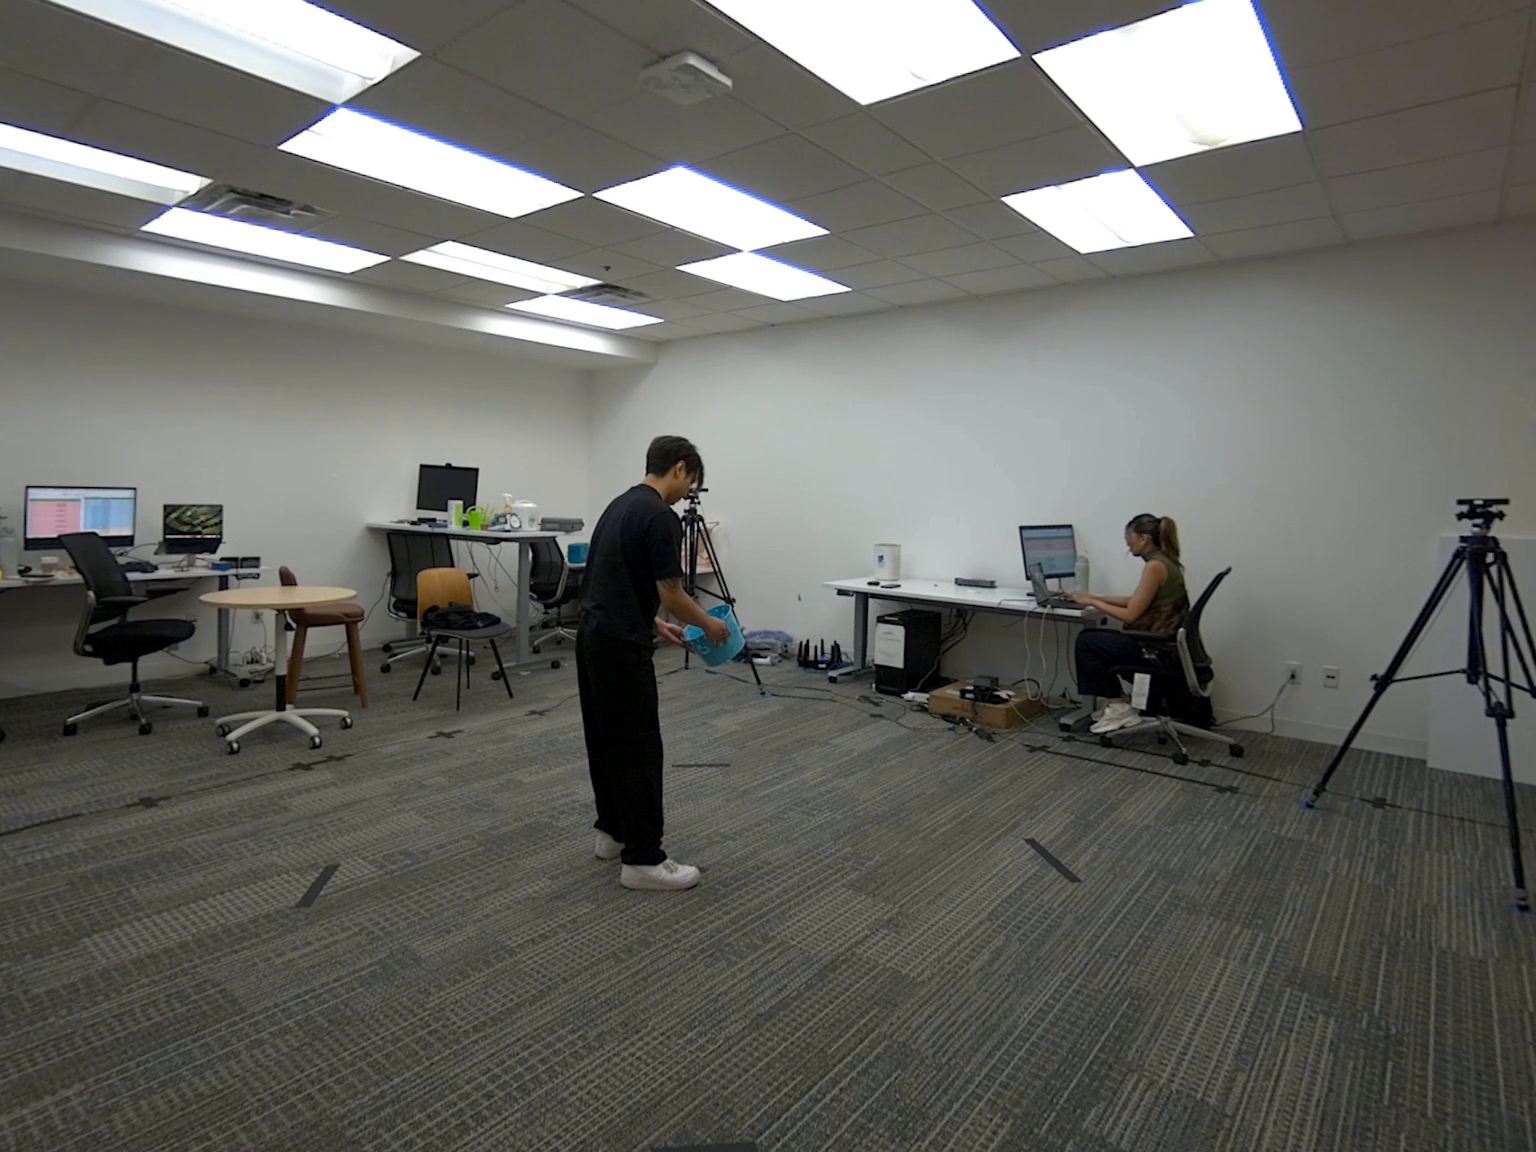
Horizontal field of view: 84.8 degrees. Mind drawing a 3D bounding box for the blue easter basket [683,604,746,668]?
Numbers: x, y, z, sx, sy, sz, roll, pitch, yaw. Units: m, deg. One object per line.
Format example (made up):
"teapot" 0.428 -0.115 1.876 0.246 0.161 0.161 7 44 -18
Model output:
"blue easter basket" -0.213 0.245 3.368 0.244 0.152 0.248 -29 17 7
